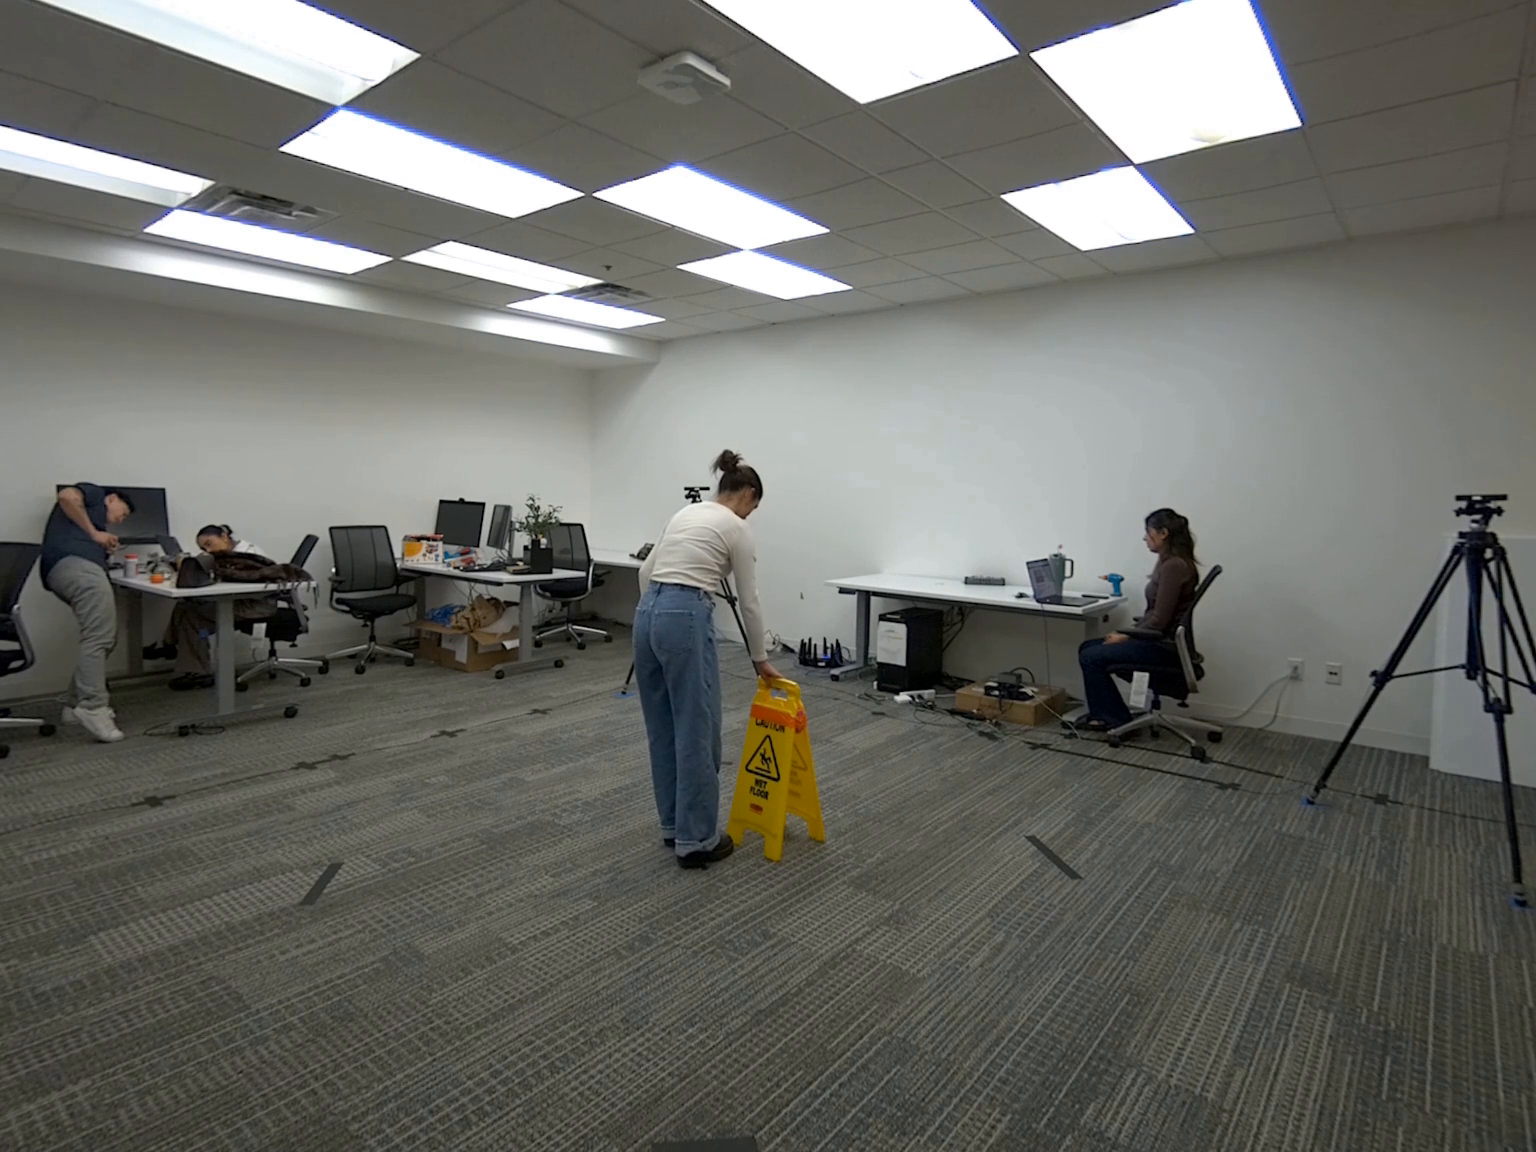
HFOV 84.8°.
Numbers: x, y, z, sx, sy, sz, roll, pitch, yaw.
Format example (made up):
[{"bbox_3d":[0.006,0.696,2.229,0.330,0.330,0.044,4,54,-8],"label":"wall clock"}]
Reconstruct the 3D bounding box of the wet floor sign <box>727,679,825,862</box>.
[{"bbox_3d":[0.028,0.725,3.345,0.292,0.644,0.281,3,4,43],"label":"wet floor sign"}]
